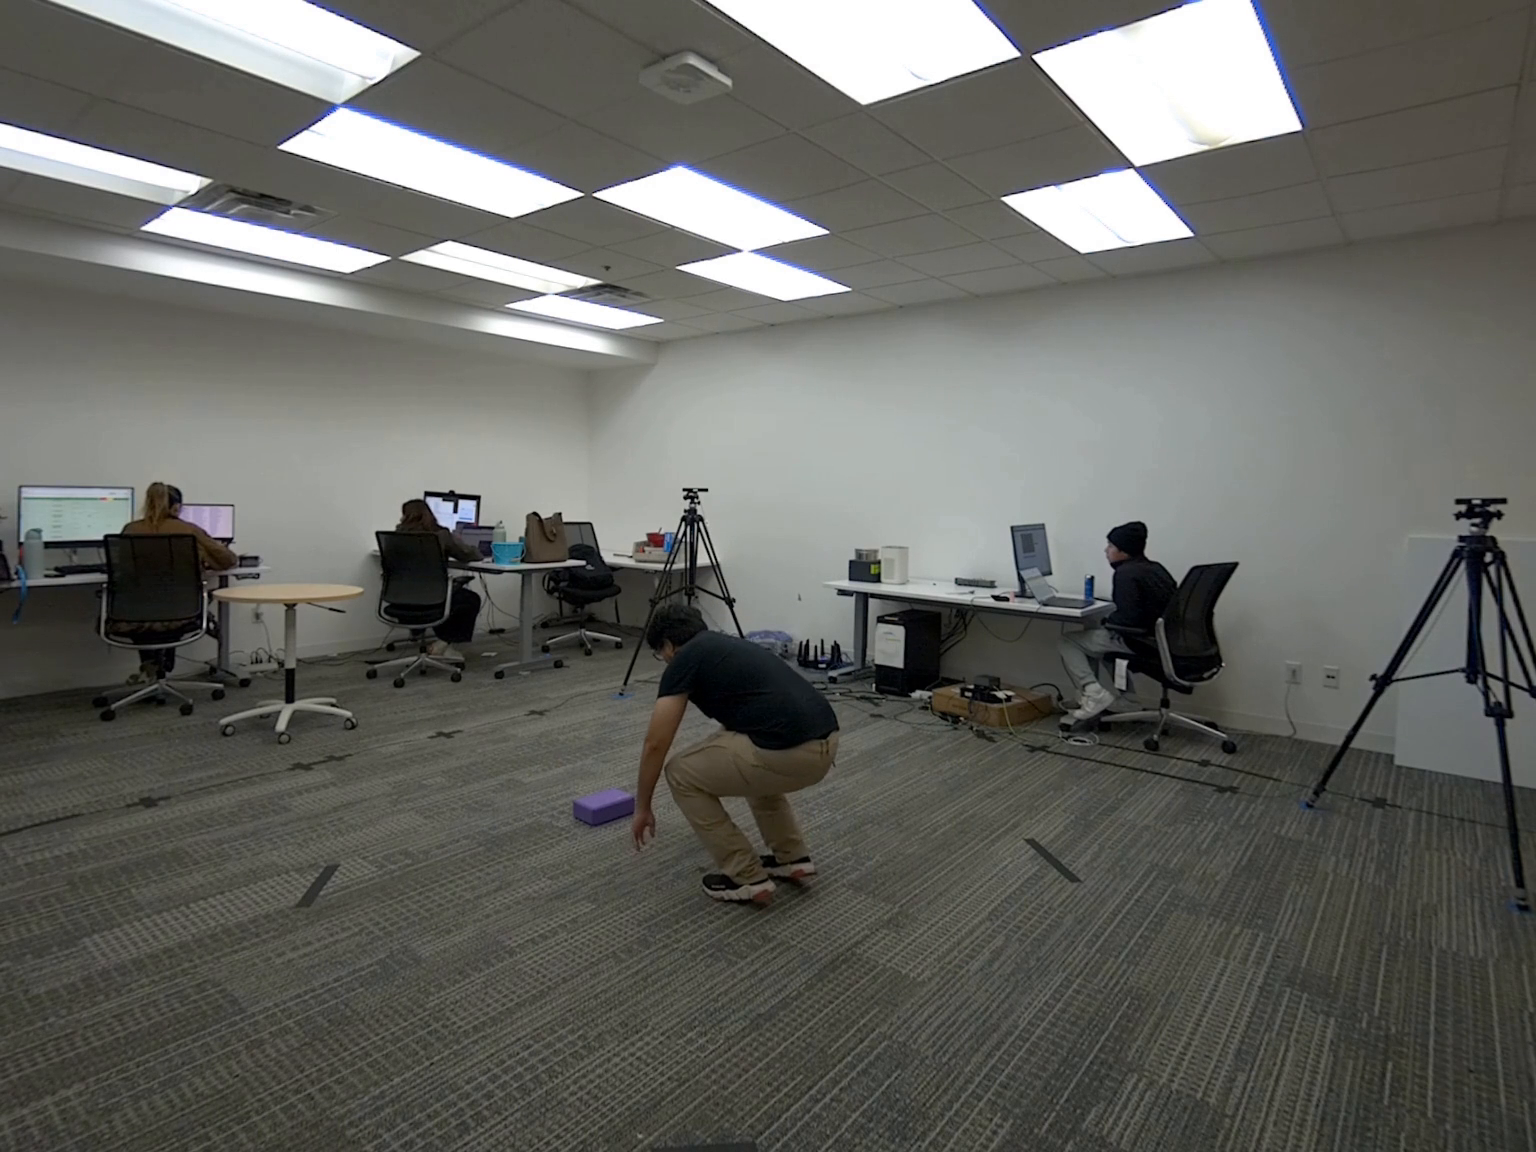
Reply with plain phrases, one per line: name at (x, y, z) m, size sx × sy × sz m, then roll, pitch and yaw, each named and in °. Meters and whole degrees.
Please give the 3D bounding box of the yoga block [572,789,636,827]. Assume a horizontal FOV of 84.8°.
yoga block at (-0.706, 0.975, 3.610) m, size 0.154 × 0.076 × 0.222 m, roll 4°, pitch 6°, yaw 43°
